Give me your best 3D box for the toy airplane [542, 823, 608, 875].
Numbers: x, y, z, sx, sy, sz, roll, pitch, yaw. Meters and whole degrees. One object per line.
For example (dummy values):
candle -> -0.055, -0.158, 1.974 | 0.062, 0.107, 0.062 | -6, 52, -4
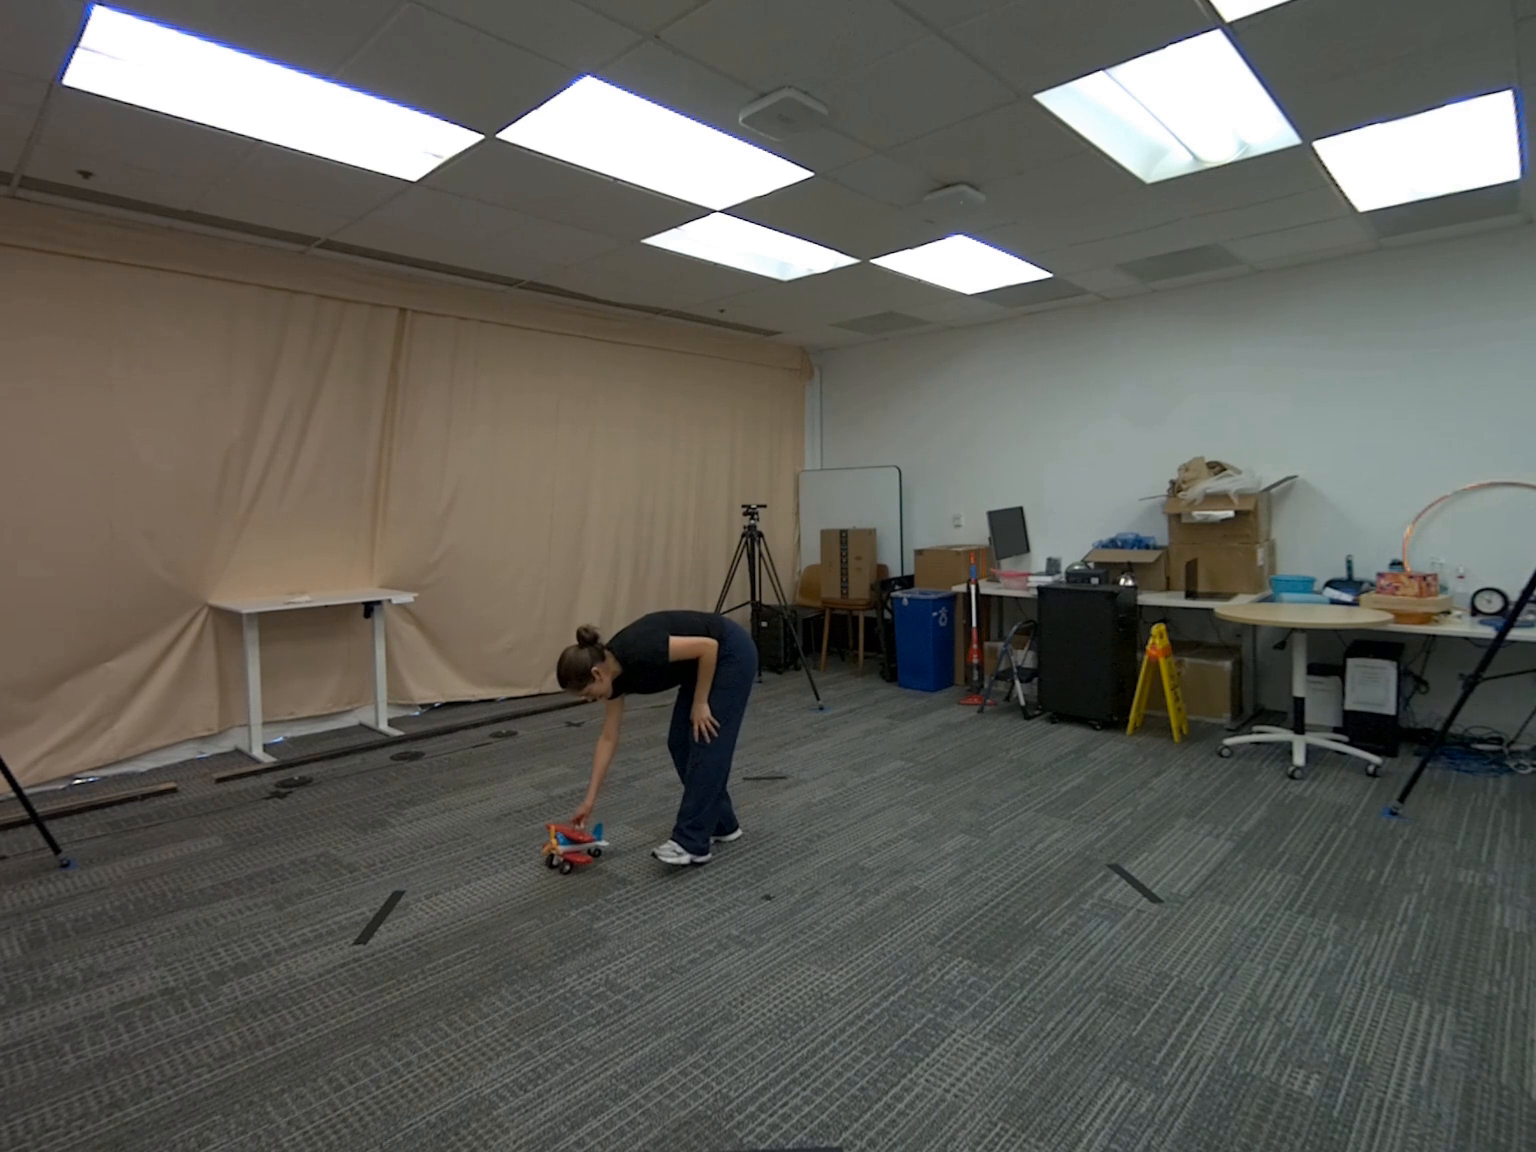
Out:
toy airplane -> -0.760, 1.057, 3.317 | 0.255, 0.156, 0.256 | 0, 7, 12
